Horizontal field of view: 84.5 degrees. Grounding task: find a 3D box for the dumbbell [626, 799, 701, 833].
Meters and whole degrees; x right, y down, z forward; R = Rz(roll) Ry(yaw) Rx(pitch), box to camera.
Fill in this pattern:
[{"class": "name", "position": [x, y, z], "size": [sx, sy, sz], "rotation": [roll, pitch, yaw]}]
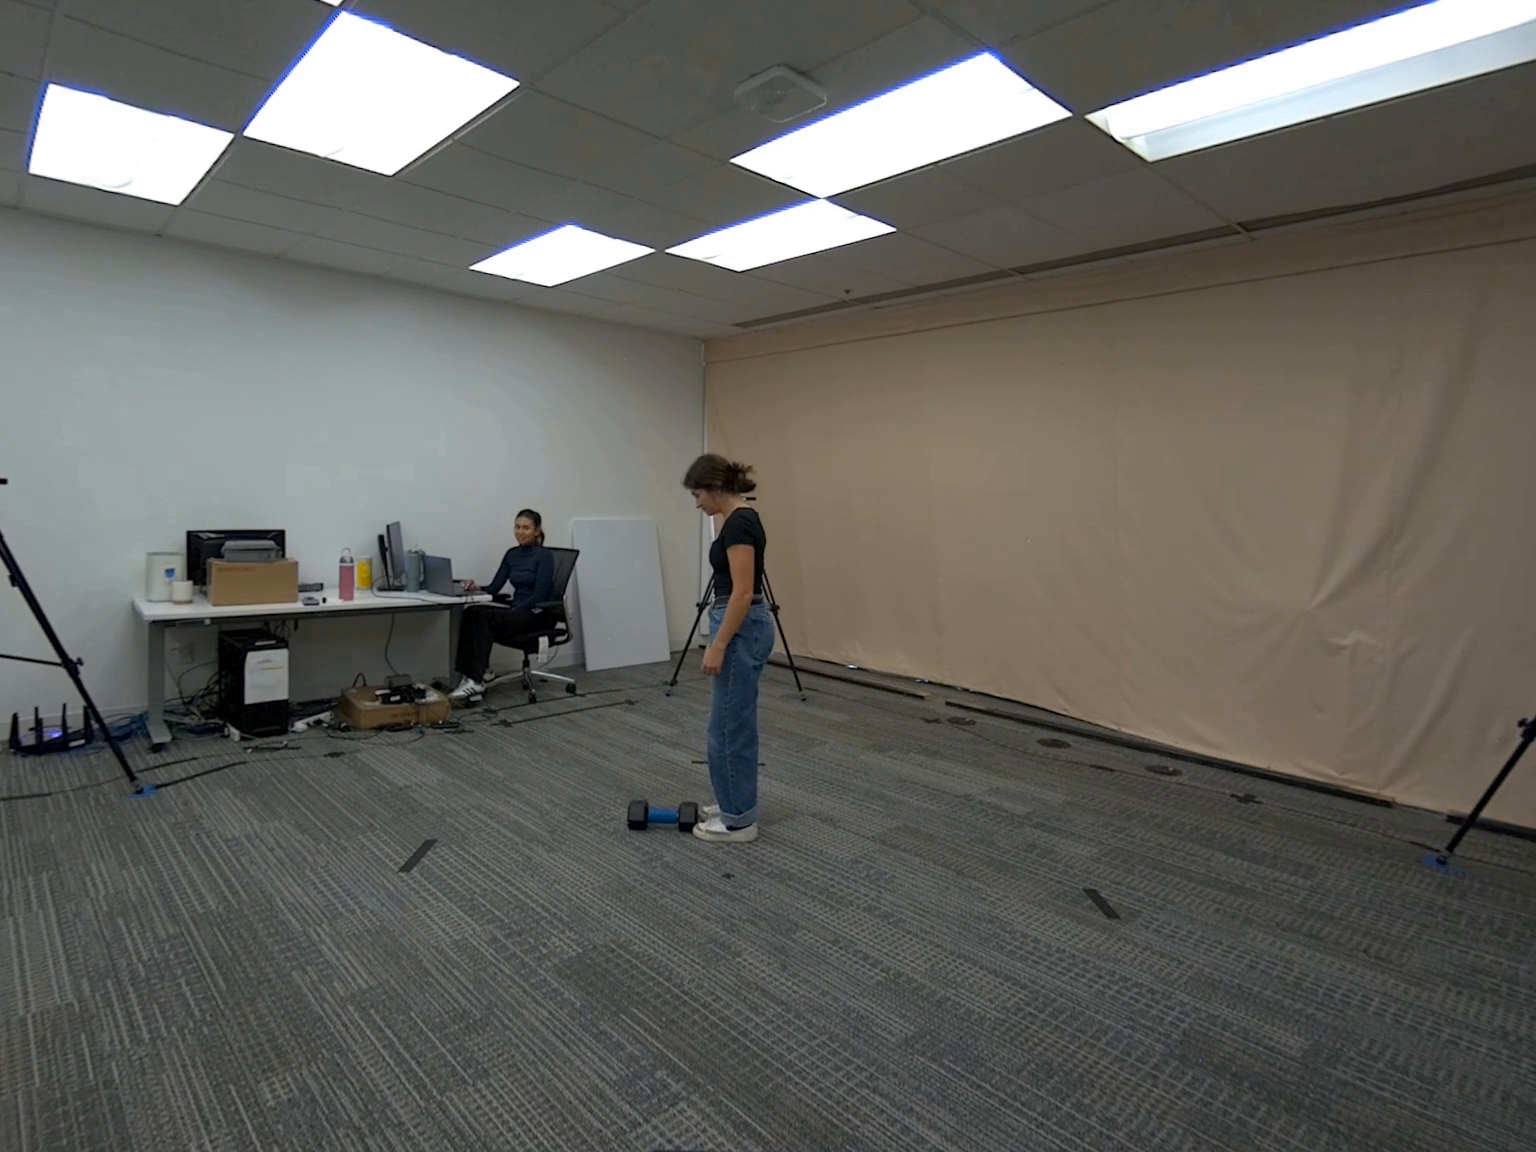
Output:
[{"class": "dumbbell", "position": [-0.446, 1.000, 3.538], "size": [0.294, 0.120, 0.111], "rotation": [1, 34, 1]}]
